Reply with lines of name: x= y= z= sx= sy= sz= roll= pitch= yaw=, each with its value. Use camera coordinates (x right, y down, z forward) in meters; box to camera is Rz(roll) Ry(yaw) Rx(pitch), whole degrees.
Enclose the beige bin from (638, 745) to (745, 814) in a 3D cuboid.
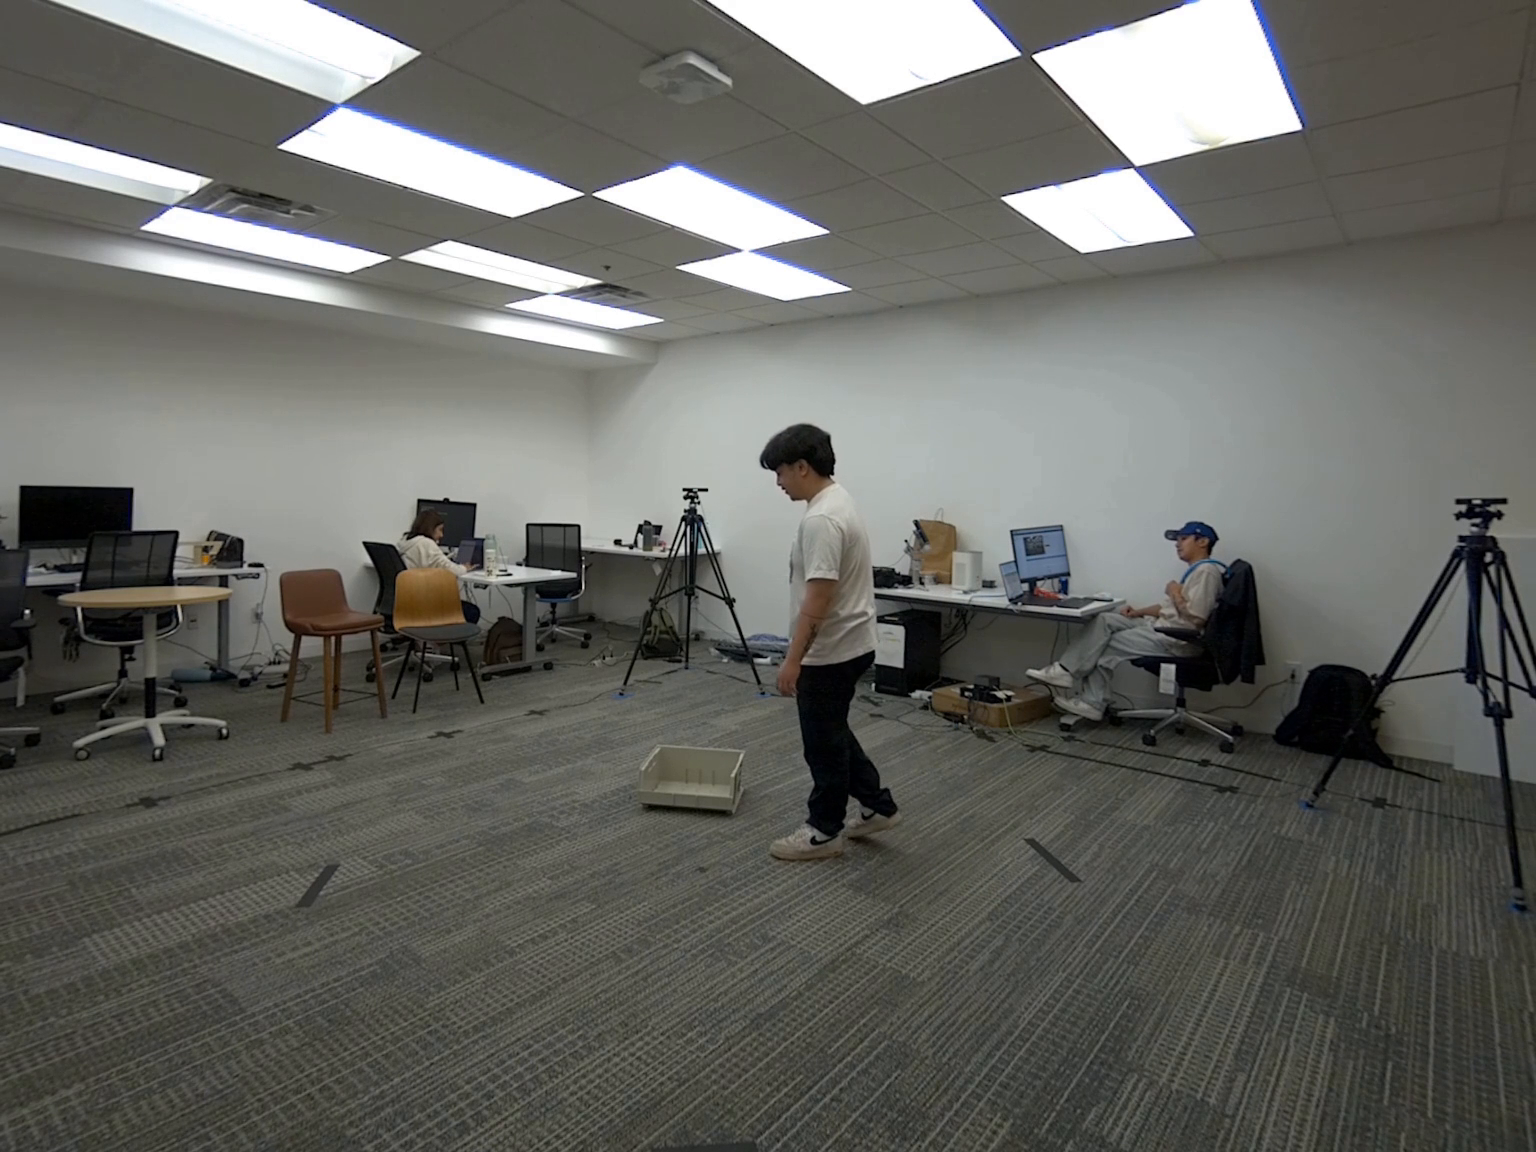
beige bin: x=-0.344 y=0.911 z=3.812 sx=0.426 sy=0.188 sz=0.375 roll=1 pitch=4 yaw=7
